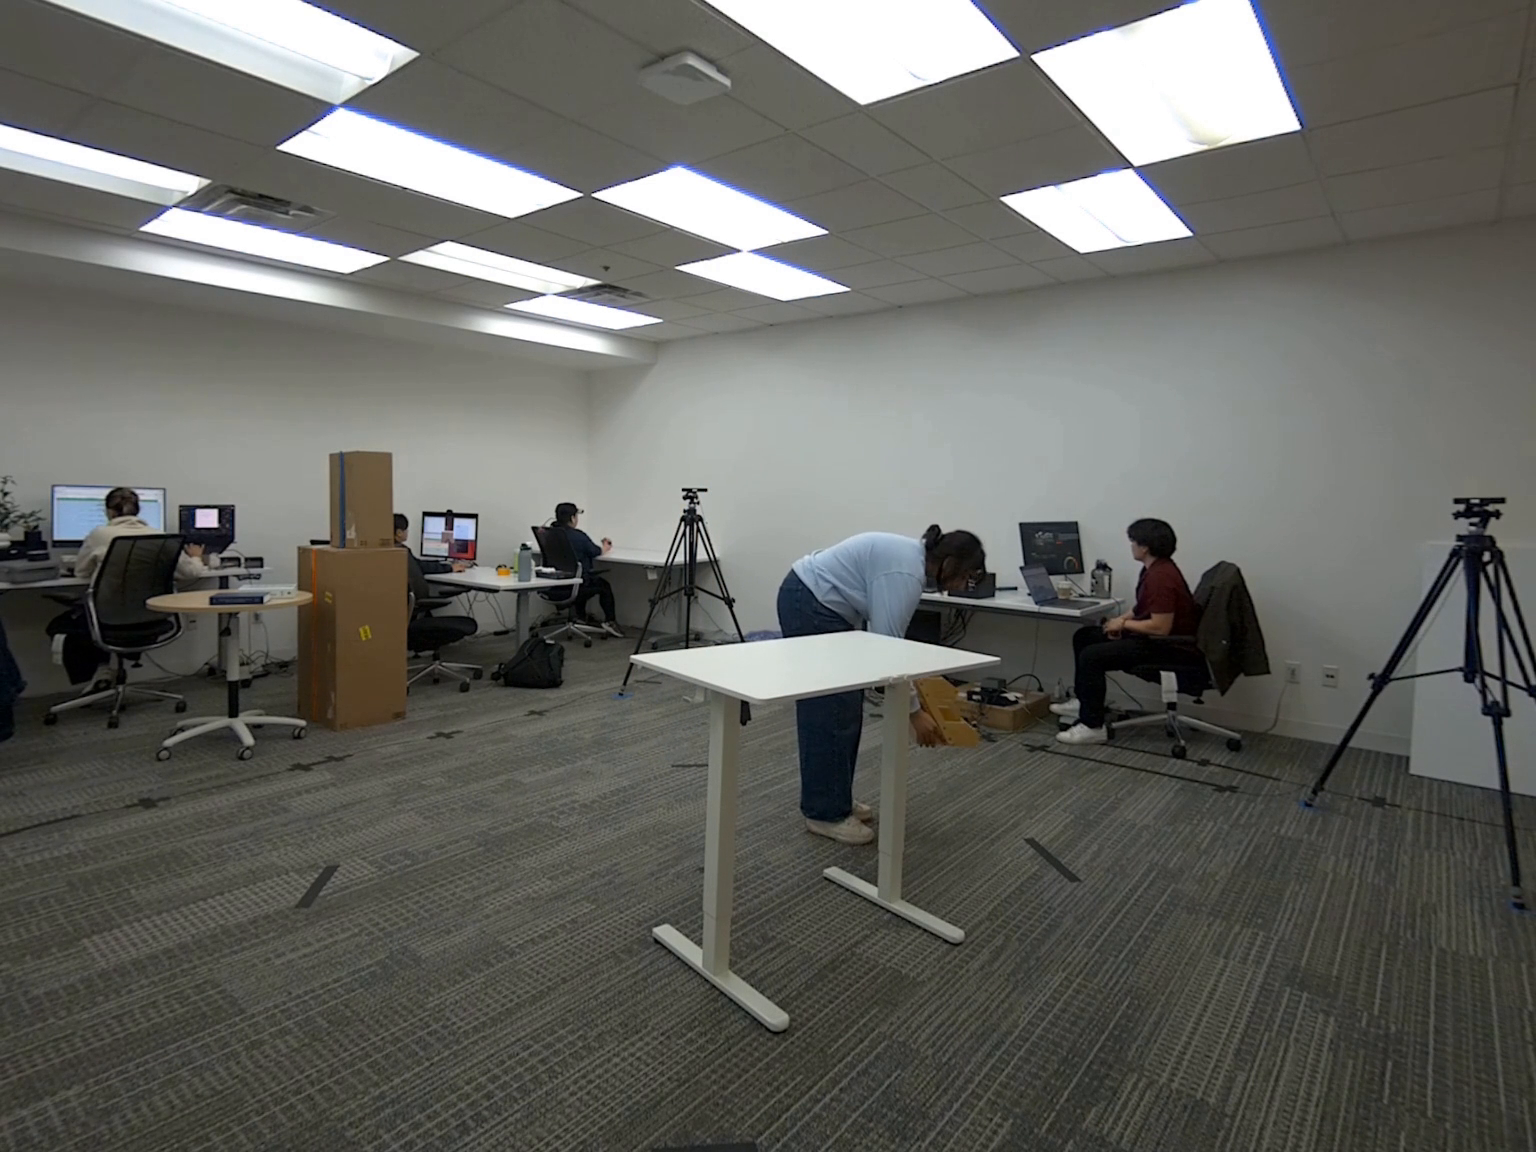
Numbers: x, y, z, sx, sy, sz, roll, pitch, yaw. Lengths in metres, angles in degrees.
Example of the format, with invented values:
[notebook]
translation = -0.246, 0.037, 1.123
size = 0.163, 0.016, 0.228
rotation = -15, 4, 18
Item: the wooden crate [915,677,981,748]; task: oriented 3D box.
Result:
[wooden crate]
translation = 0.668, 0.515, 3.451
size = 0.302, 0.273, 0.325
rotation = 0, 3, -1
